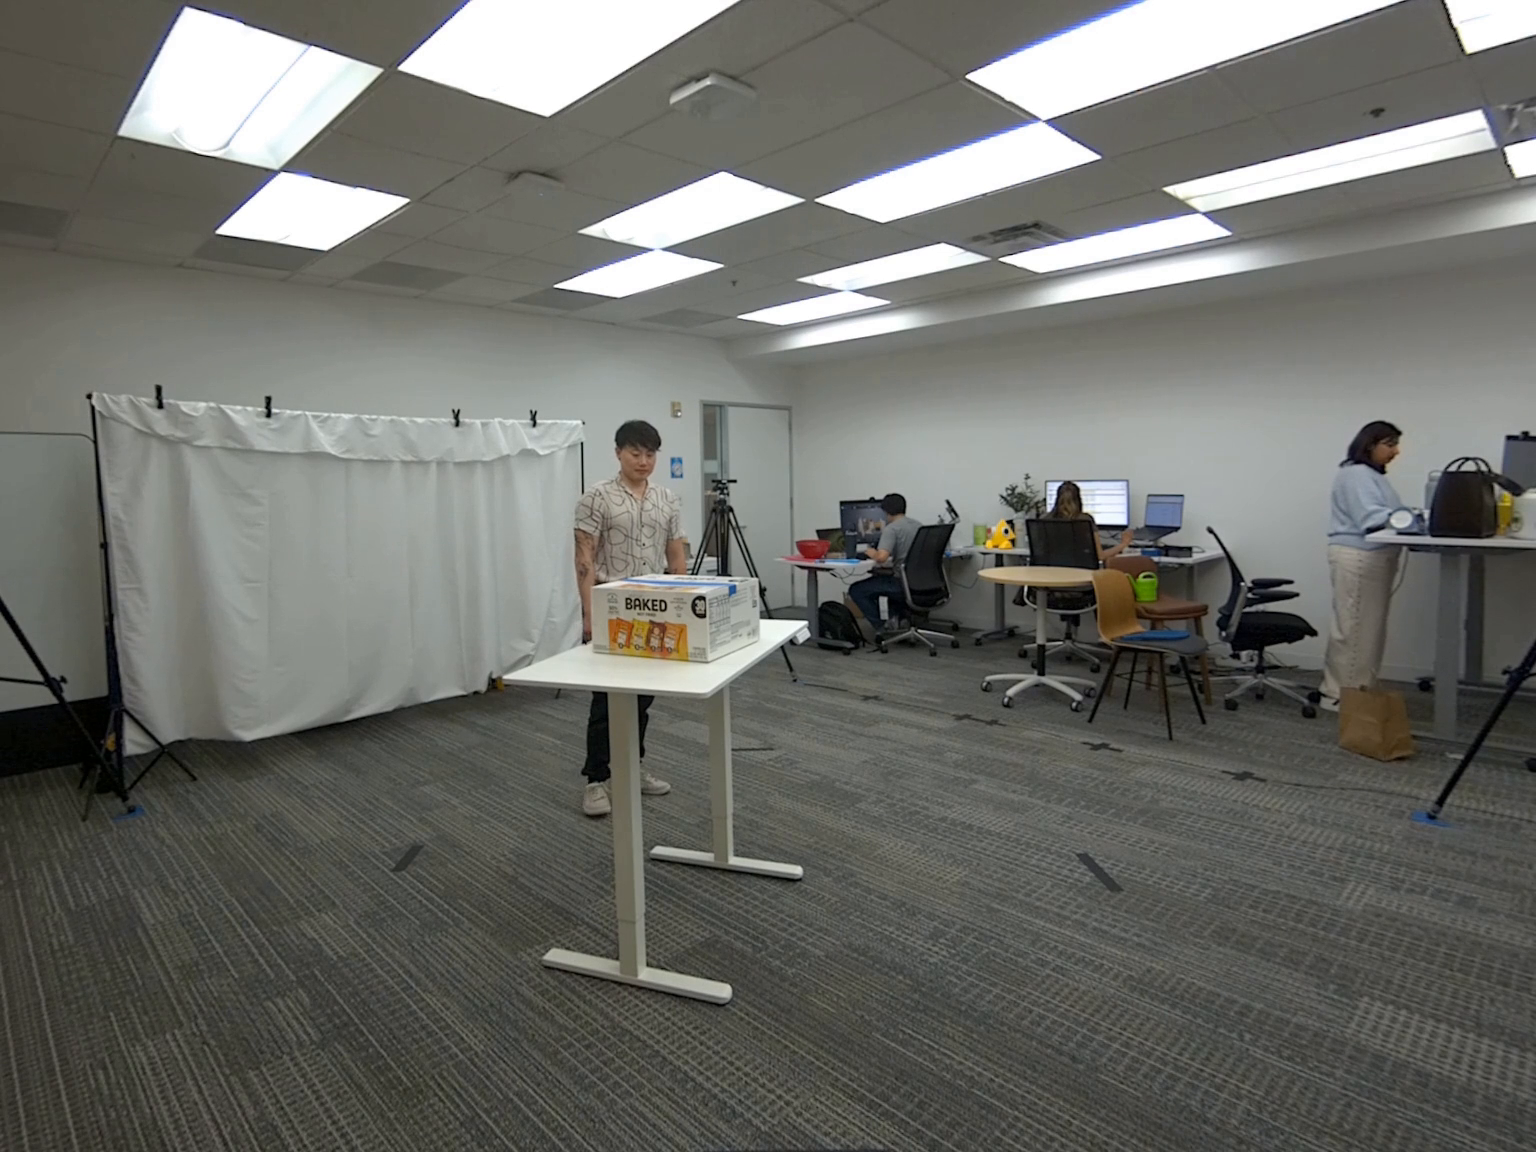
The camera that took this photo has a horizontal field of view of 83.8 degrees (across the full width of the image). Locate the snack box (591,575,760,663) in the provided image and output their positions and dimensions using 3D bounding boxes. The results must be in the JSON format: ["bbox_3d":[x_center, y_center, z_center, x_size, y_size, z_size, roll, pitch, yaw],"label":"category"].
[{"bbox_3d":[-0.283,0.120,2.652,0.415,0.204,0.334,2,7,27],"label":"snack box"}]
